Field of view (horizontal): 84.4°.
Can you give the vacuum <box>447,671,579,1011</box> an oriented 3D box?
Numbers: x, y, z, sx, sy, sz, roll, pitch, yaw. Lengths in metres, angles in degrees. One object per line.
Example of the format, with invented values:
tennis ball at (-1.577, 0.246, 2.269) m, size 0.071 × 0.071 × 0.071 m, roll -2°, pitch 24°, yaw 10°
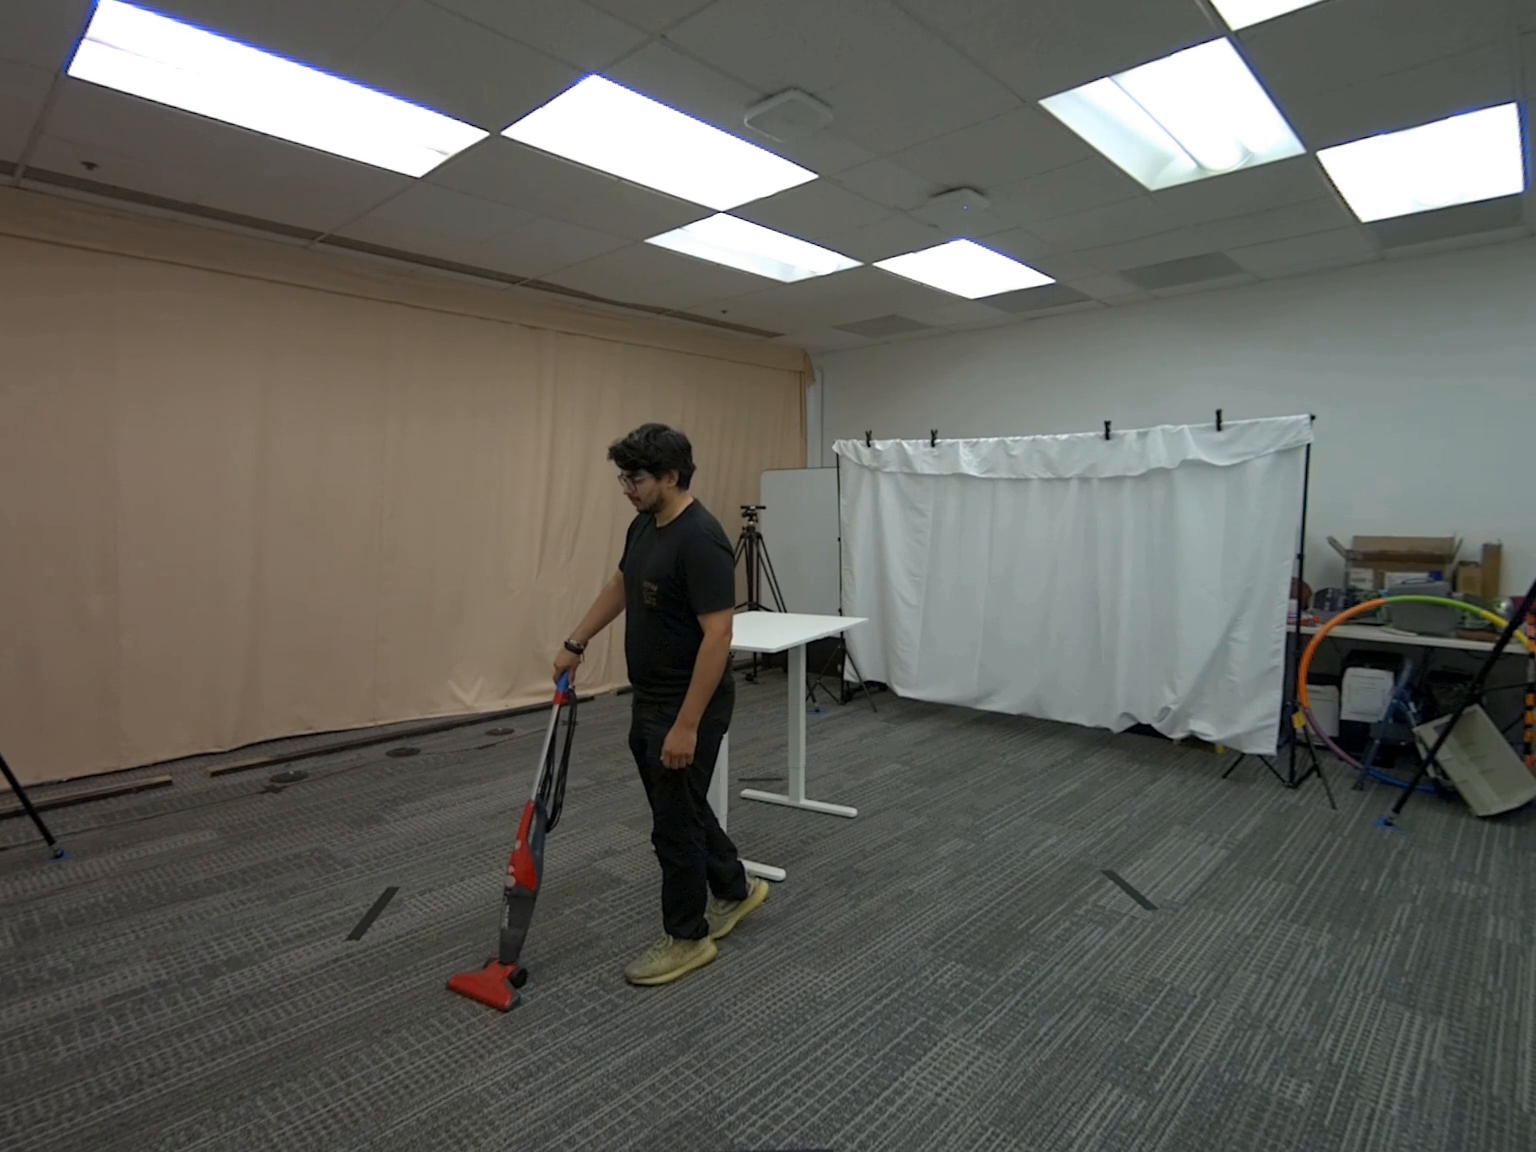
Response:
vacuum at (-0.702, 0.706, 2.607) m, size 0.260 × 1.056 × 0.139 m, roll -2°, pitch -23°, yaw 36°
